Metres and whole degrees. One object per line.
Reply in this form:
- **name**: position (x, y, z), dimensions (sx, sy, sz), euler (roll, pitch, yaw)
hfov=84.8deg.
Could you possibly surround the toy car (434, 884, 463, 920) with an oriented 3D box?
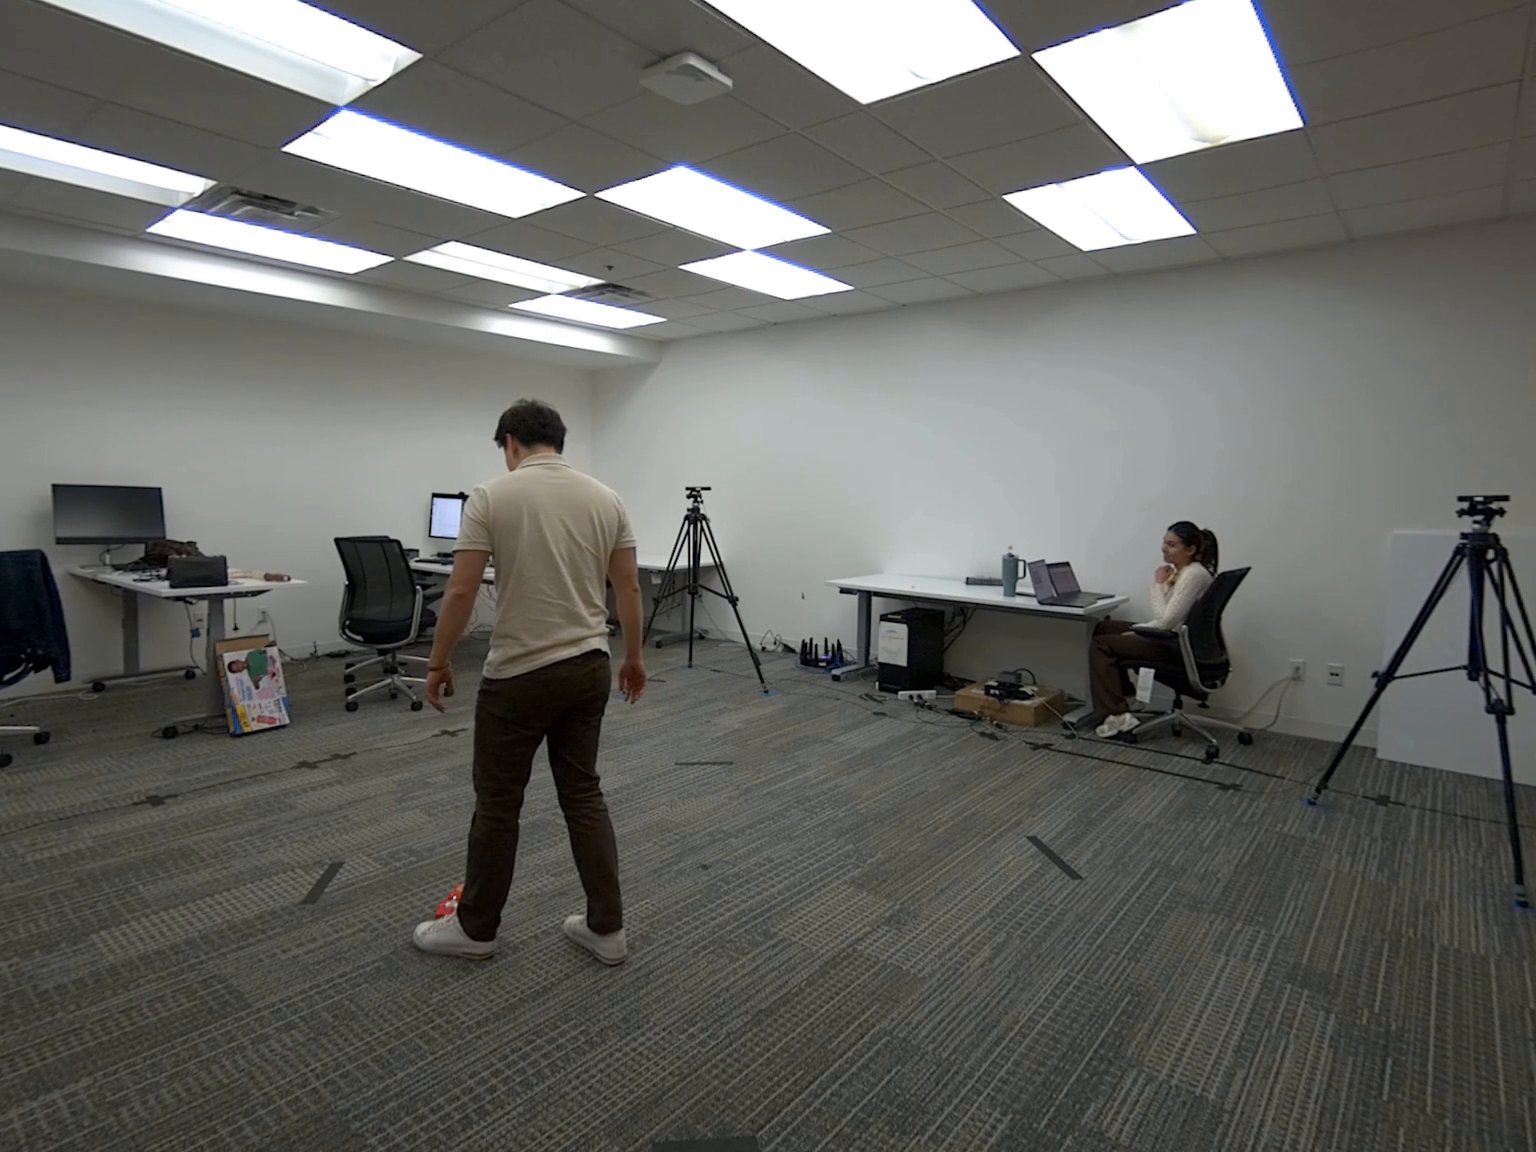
- **toy car**: position (-1.002, 1.060, 2.748), dimensions (0.131, 0.084, 0.251), euler (2, -5, 6)
